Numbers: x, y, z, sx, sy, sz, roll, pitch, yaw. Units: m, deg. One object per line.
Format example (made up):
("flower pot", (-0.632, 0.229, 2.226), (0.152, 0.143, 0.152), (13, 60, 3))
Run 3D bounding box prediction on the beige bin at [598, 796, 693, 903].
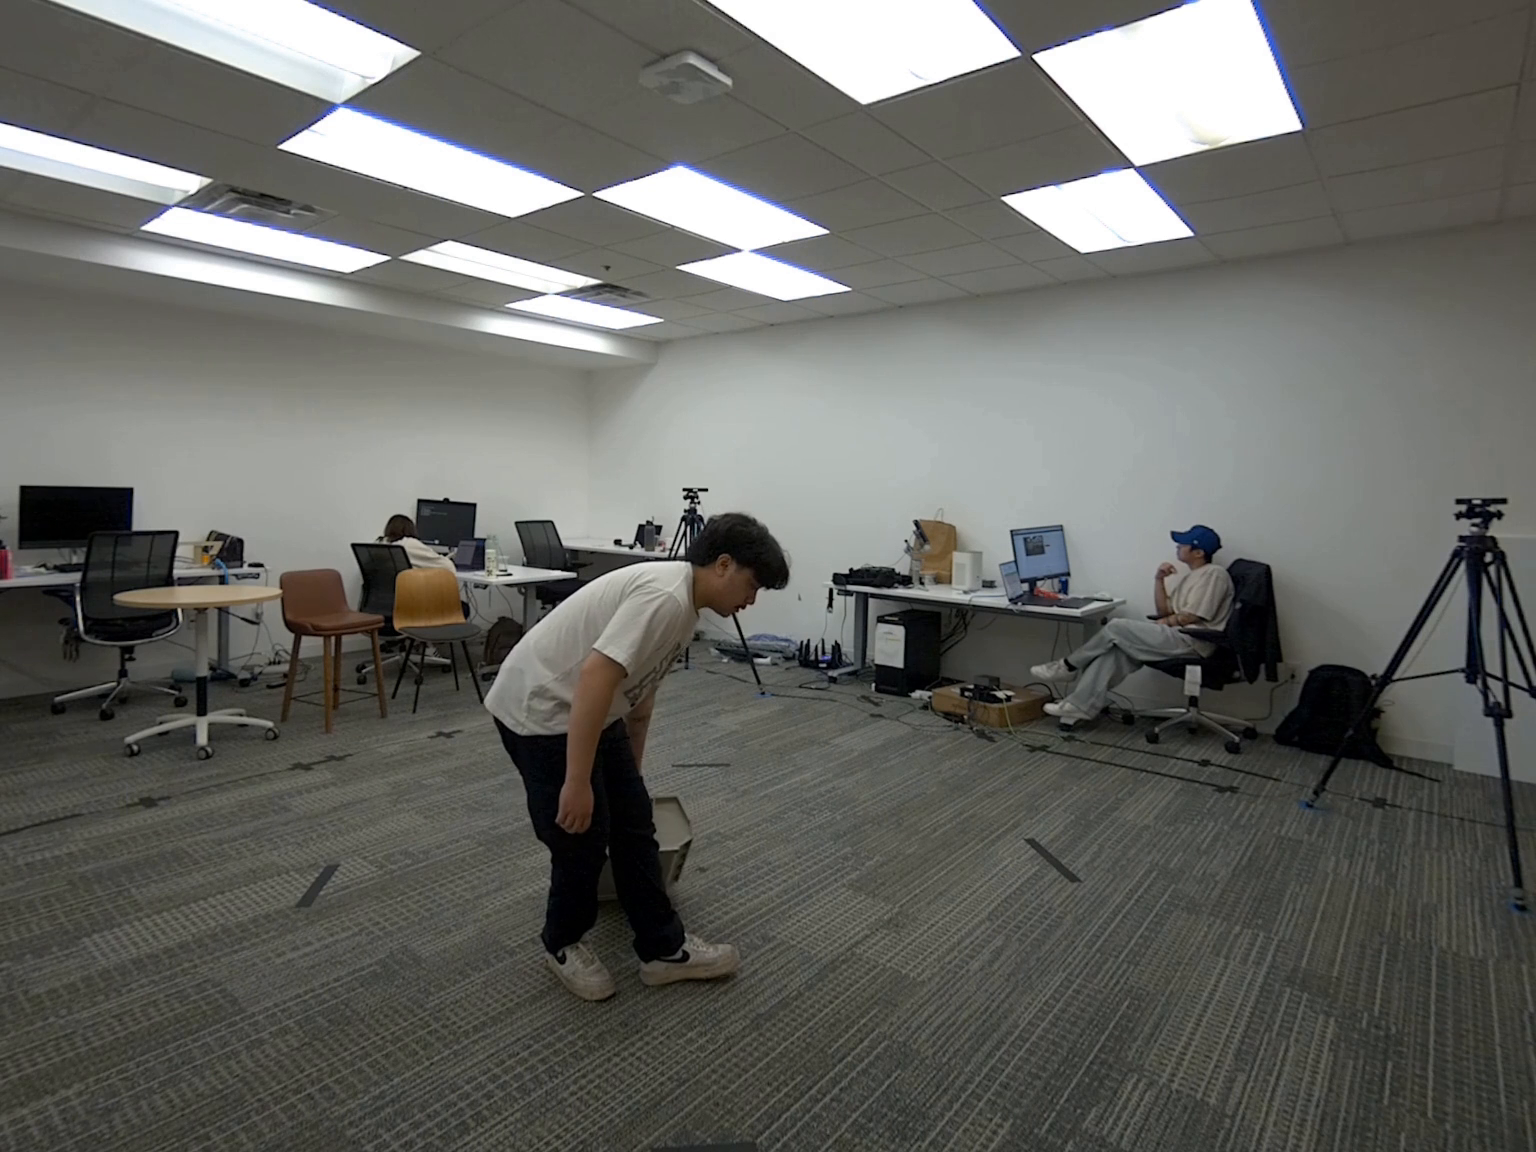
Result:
("beige bin", (-0.470, 0.887, 2.774), (0.372, 0.195, 0.414), (-1, -37, -13))
